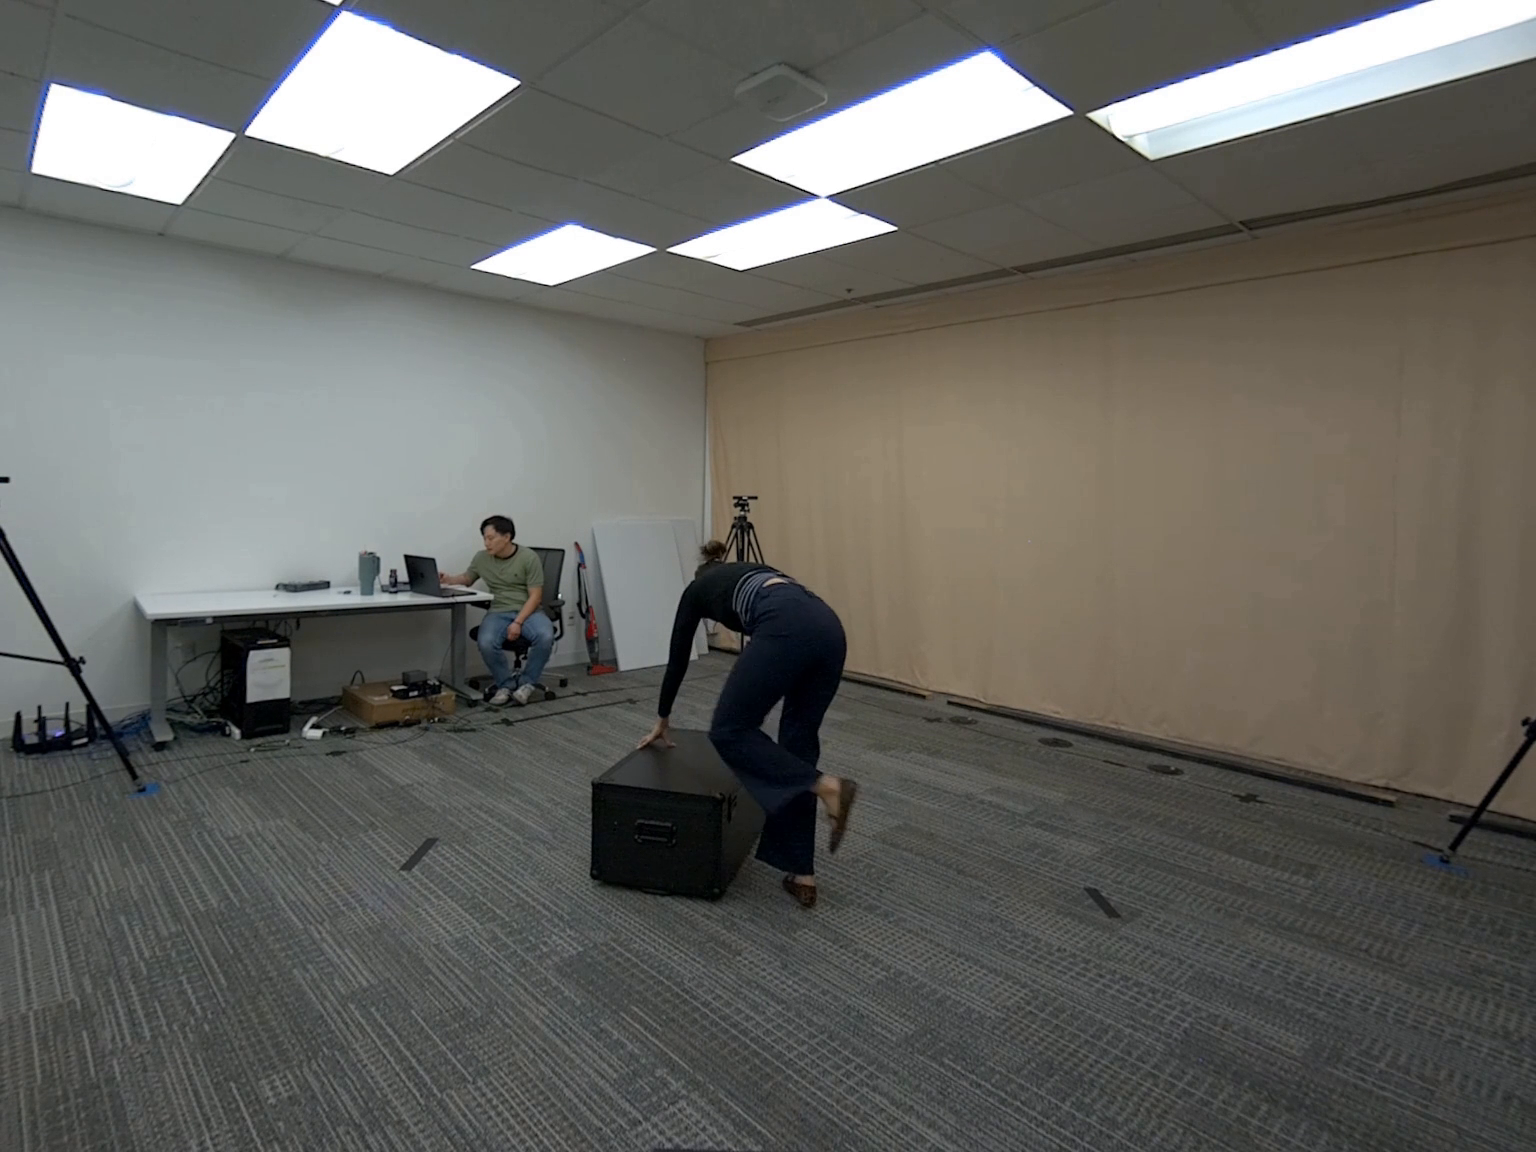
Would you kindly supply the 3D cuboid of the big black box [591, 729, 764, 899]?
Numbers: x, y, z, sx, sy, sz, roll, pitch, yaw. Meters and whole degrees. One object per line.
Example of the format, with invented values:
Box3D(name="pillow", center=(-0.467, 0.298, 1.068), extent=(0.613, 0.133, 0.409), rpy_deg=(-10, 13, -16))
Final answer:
Box3D(name="big black box", center=(-0.303, 0.886, 3.323), extent=(0.527, 0.395, 0.854), rpy_deg=(3, 6, 13))
